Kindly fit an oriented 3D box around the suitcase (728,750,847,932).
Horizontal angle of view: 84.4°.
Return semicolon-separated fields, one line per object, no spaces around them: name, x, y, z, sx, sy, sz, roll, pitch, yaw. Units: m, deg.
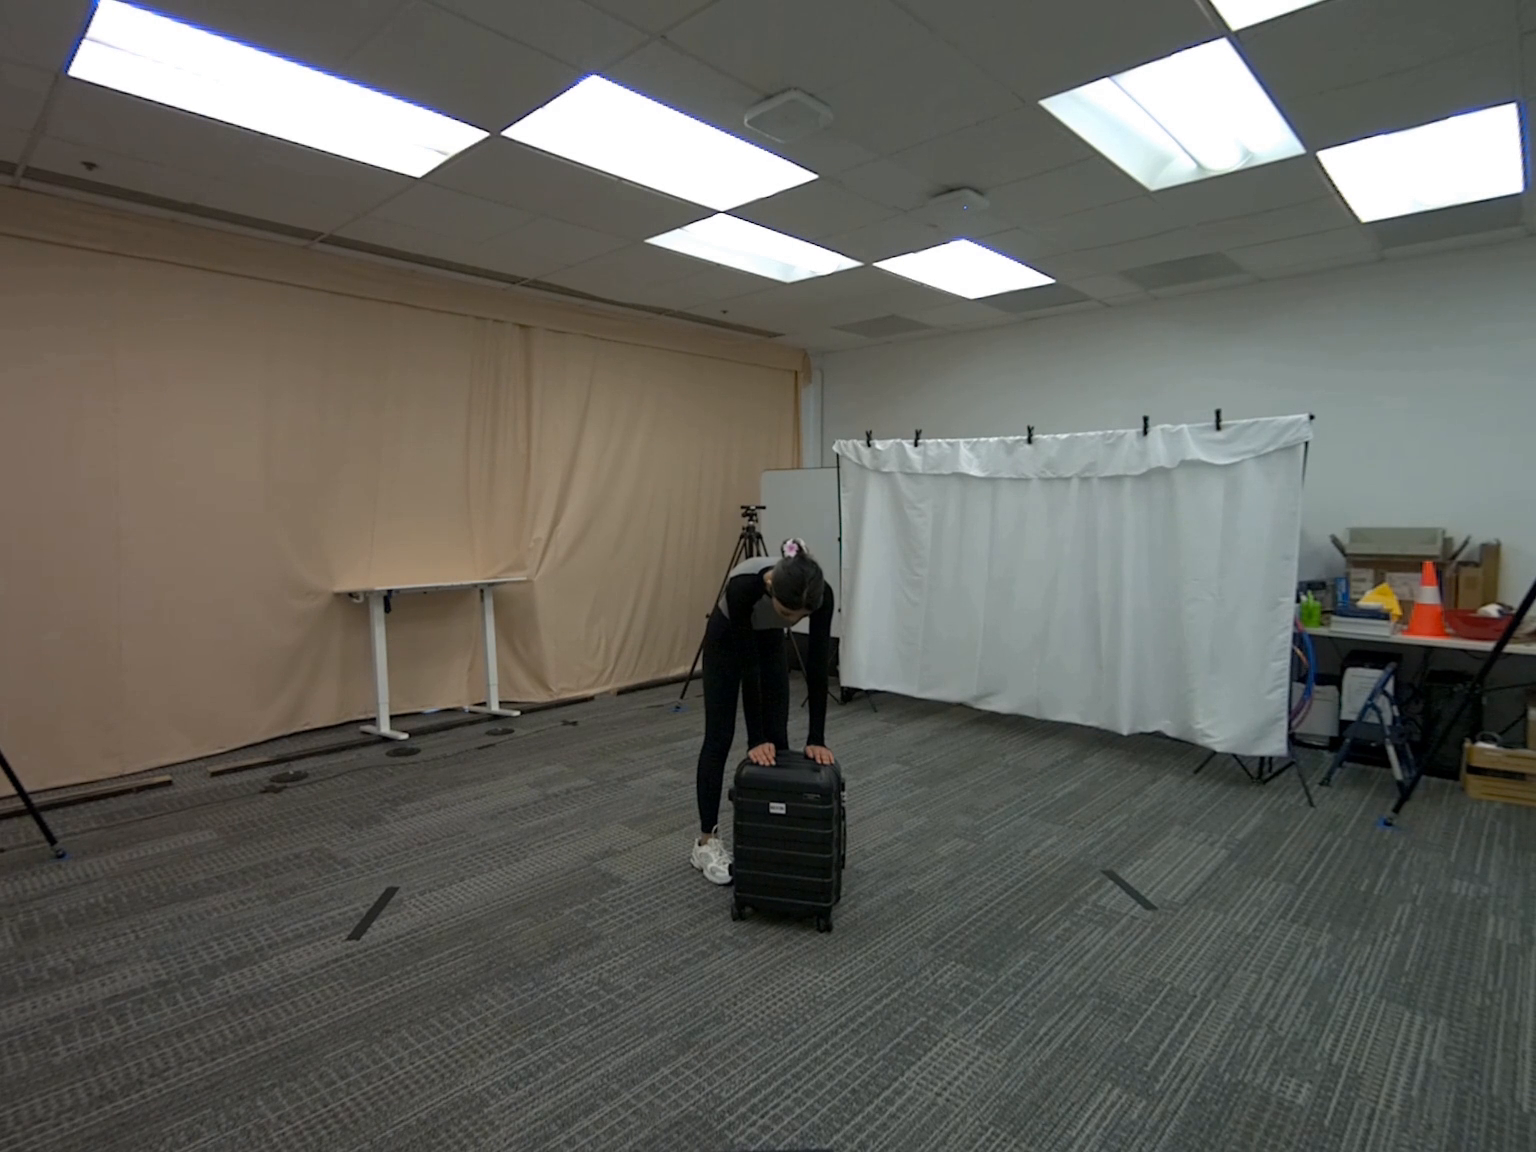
suitcase;0.073;0.880;2.865;0.382;0.547;0.245;1;5;15
